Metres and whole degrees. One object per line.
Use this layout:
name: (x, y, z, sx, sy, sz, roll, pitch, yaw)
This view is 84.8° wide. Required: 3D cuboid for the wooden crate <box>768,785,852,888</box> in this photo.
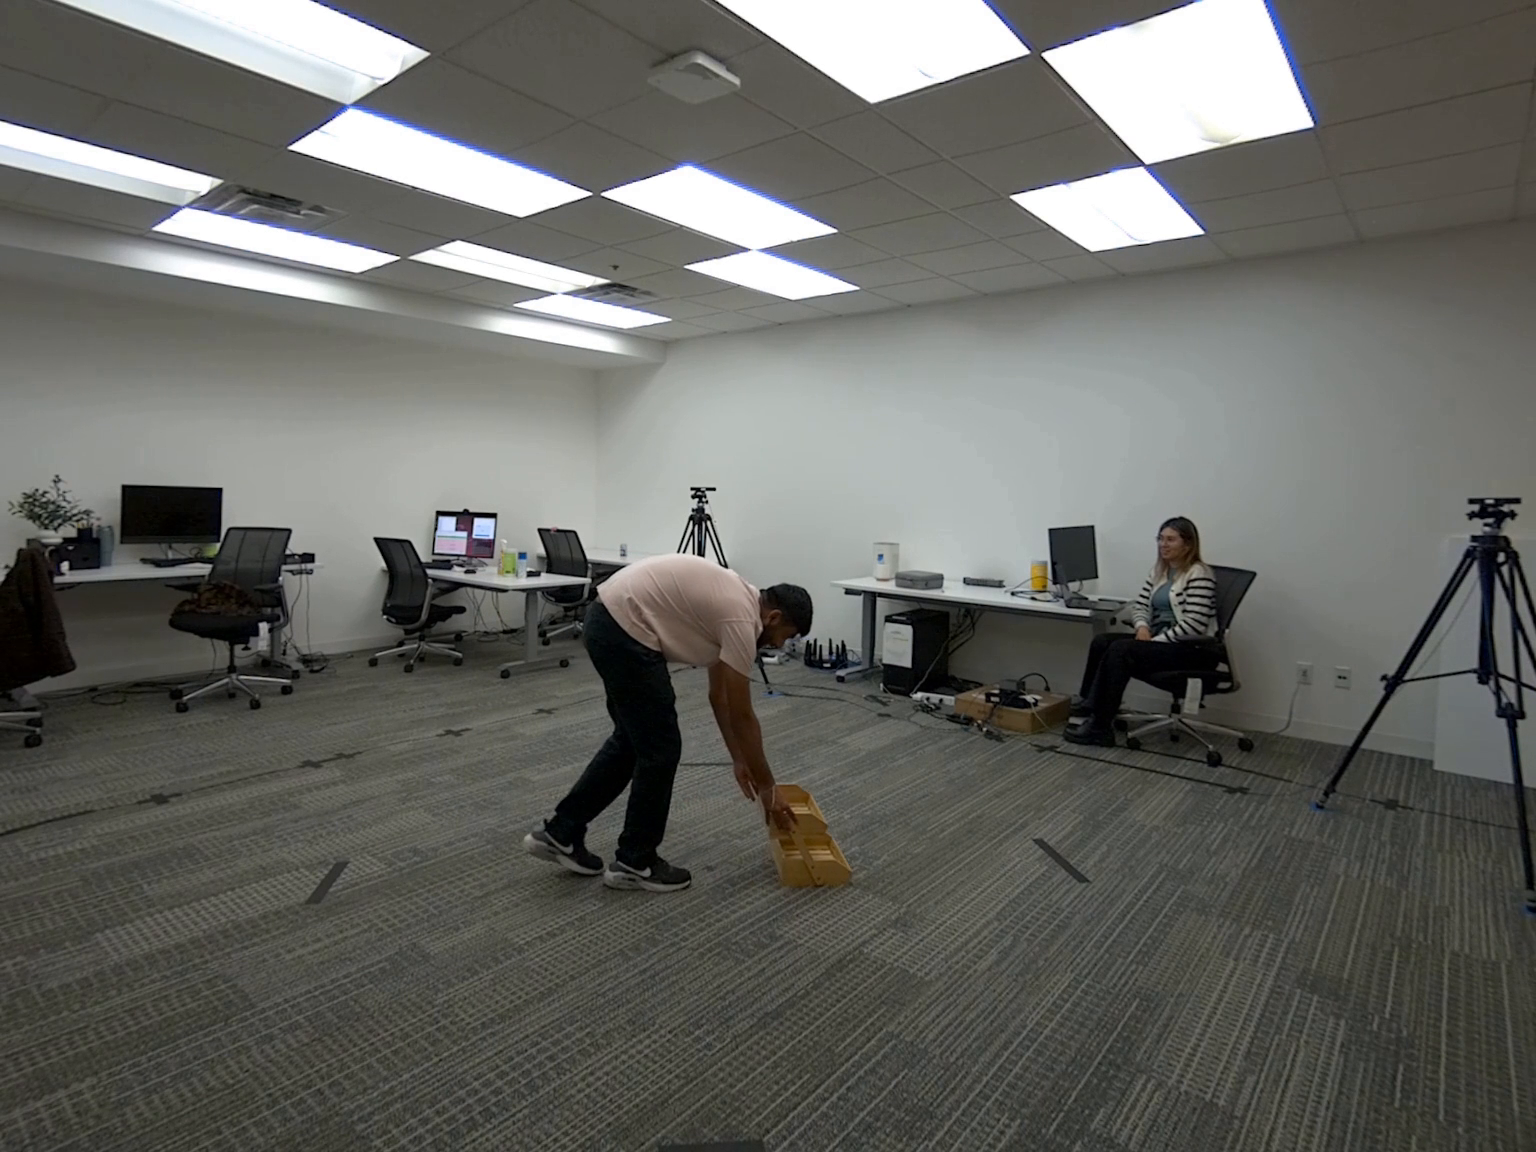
wooden crate: (0.128, 0.936, 3.133, 0.300, 0.272, 0.328, 1, 5, -8)
